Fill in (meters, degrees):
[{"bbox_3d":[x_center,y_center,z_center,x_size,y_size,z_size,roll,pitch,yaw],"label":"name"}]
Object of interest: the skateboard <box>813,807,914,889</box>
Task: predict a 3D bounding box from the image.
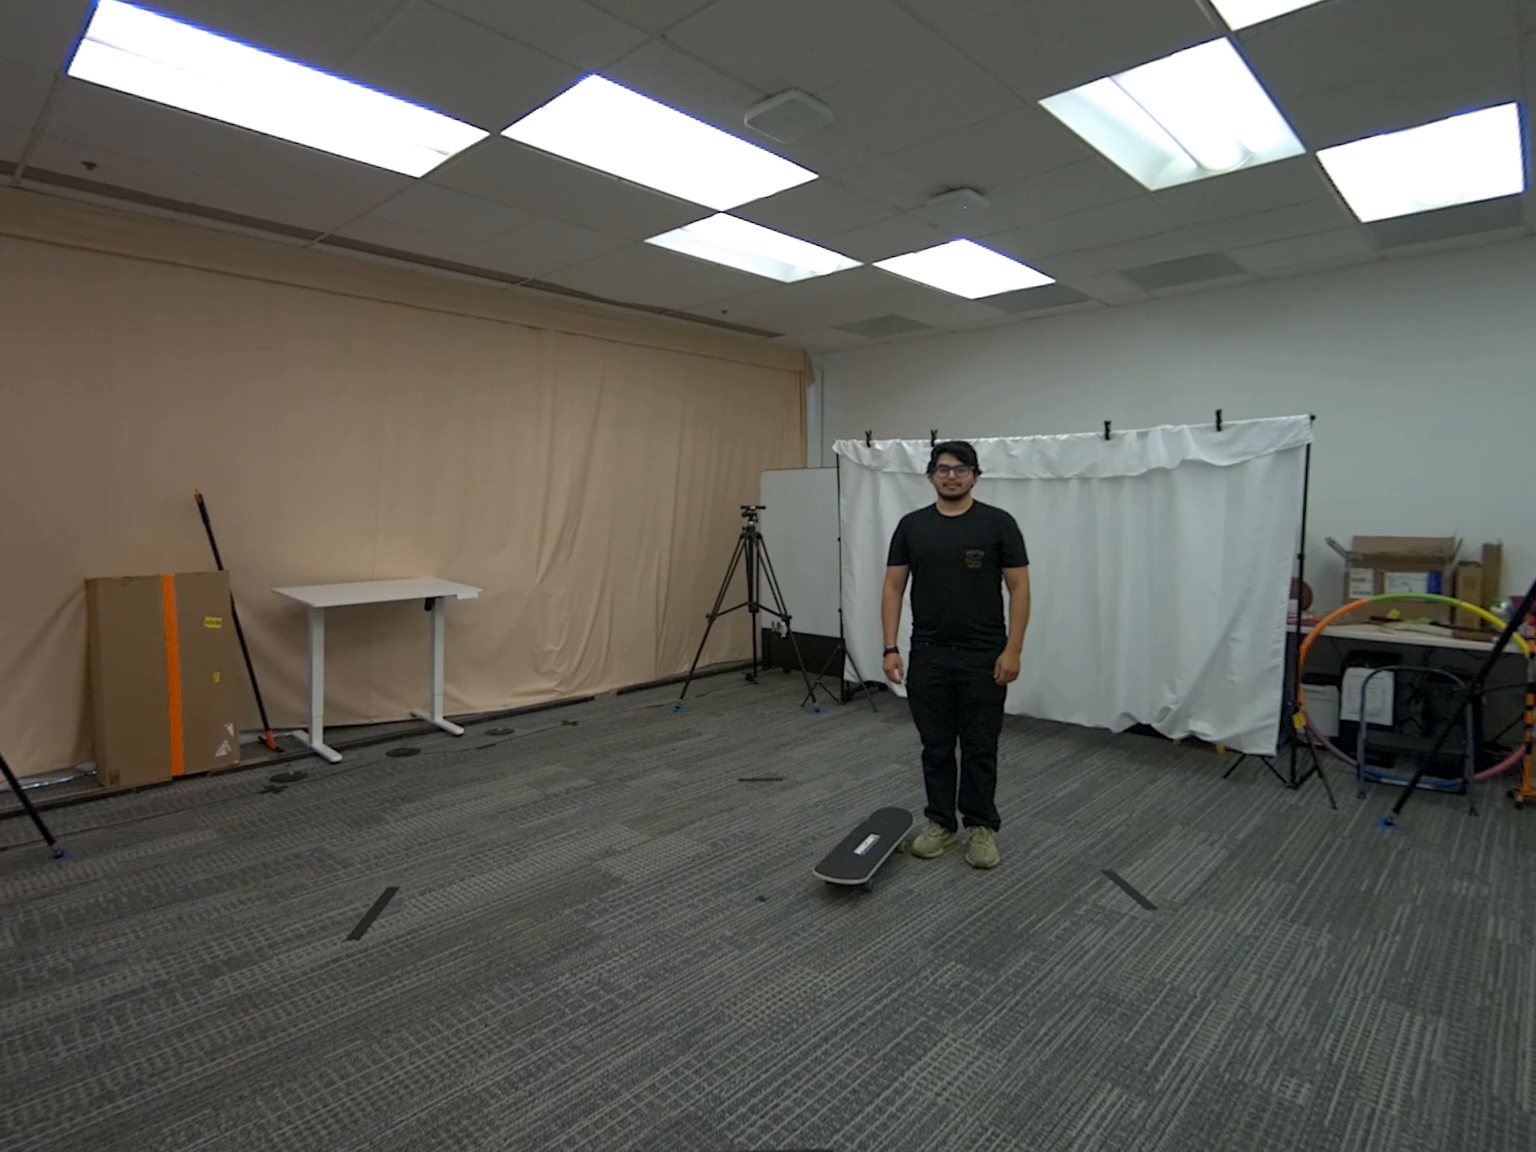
[{"bbox_3d":[0.384,1.065,3.240,0.199,0.110,0.766,2,5,26],"label":"skateboard"}]
